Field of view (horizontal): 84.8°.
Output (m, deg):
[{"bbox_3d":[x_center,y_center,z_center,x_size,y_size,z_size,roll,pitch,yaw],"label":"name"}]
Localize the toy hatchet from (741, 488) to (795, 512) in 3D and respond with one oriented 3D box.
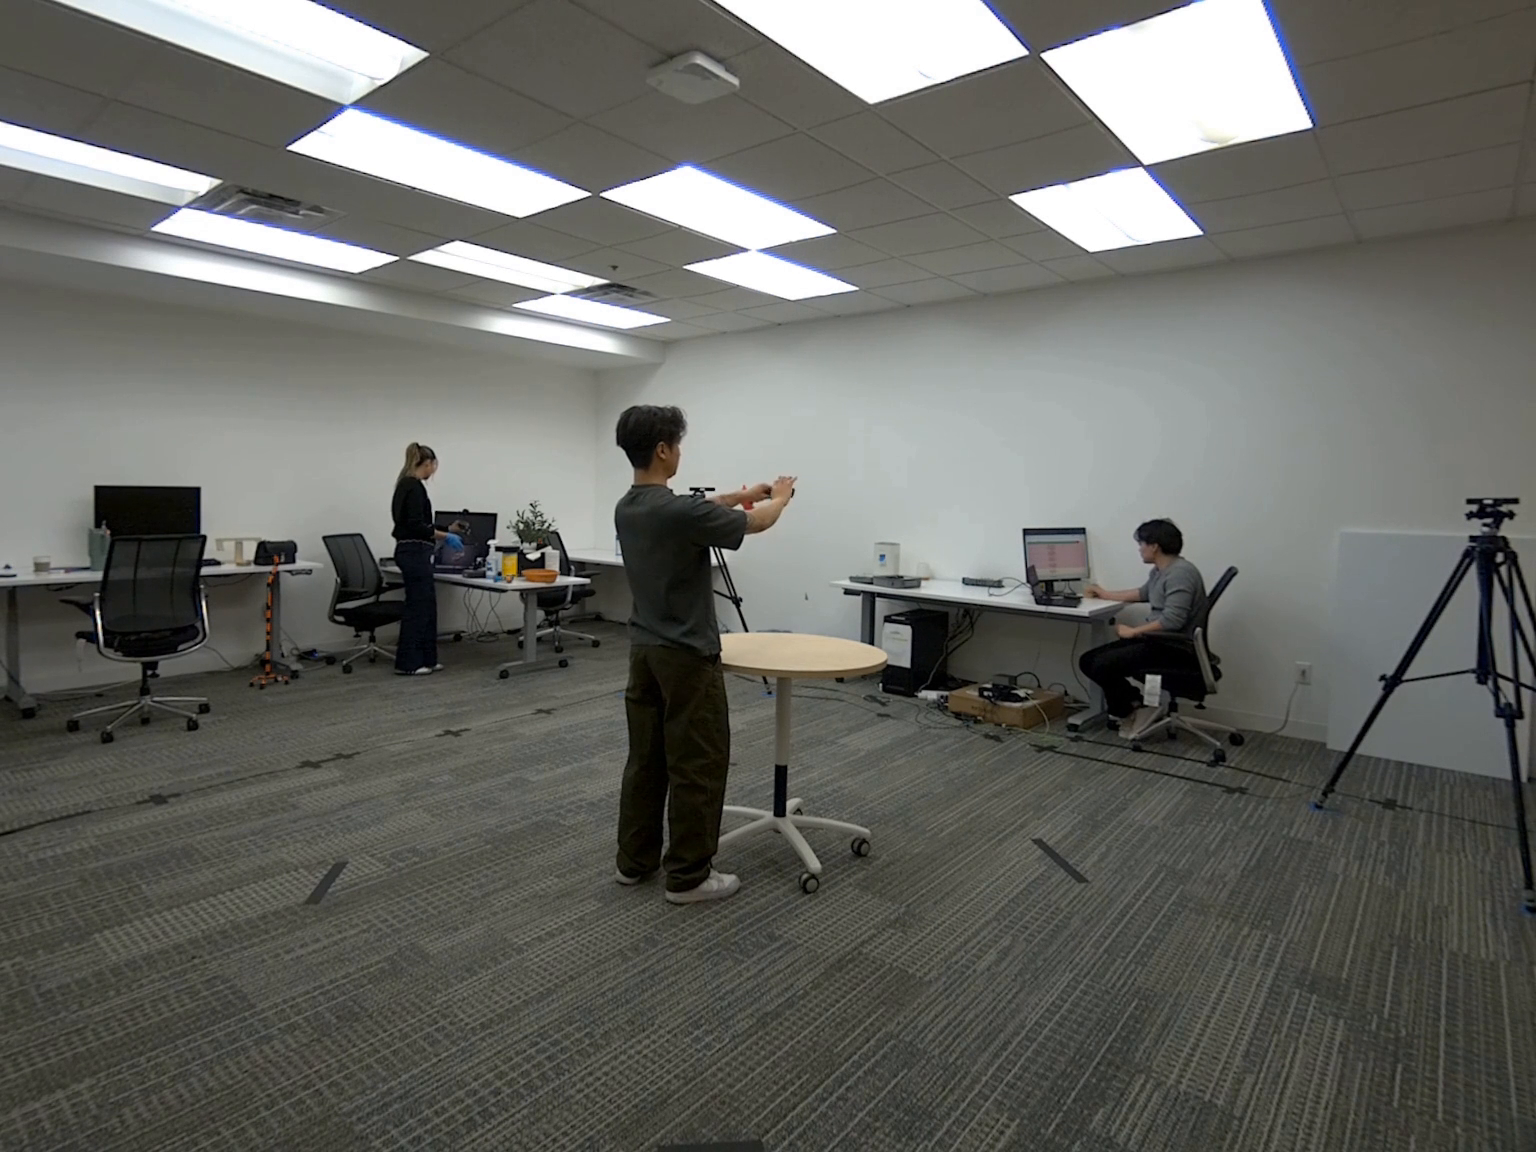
[{"bbox_3d":[-0.018,-0.288,3.323,0.028,0.131,0.280,4,3,-45],"label":"toy hatchet"}]
